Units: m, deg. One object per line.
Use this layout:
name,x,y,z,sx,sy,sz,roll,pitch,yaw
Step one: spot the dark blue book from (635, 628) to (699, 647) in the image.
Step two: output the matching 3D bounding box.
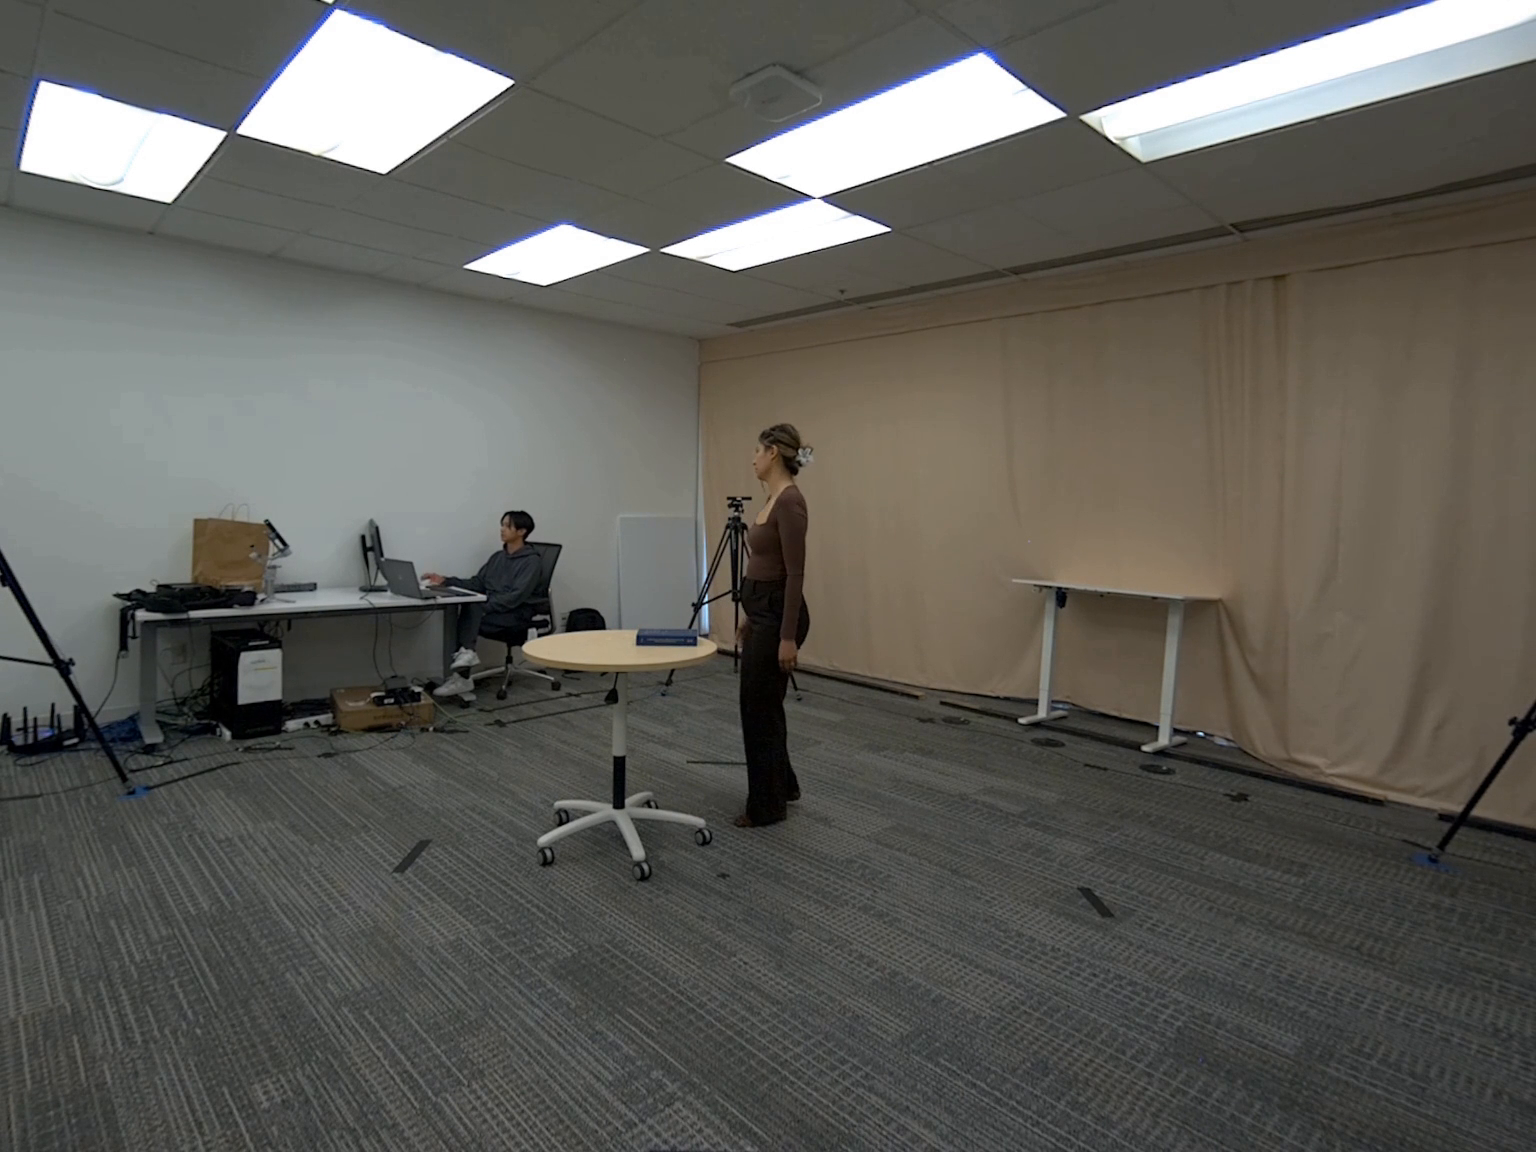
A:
dark blue book,-0.426,0.251,3.433,0.244,0.045,0.164,0,5,-4
